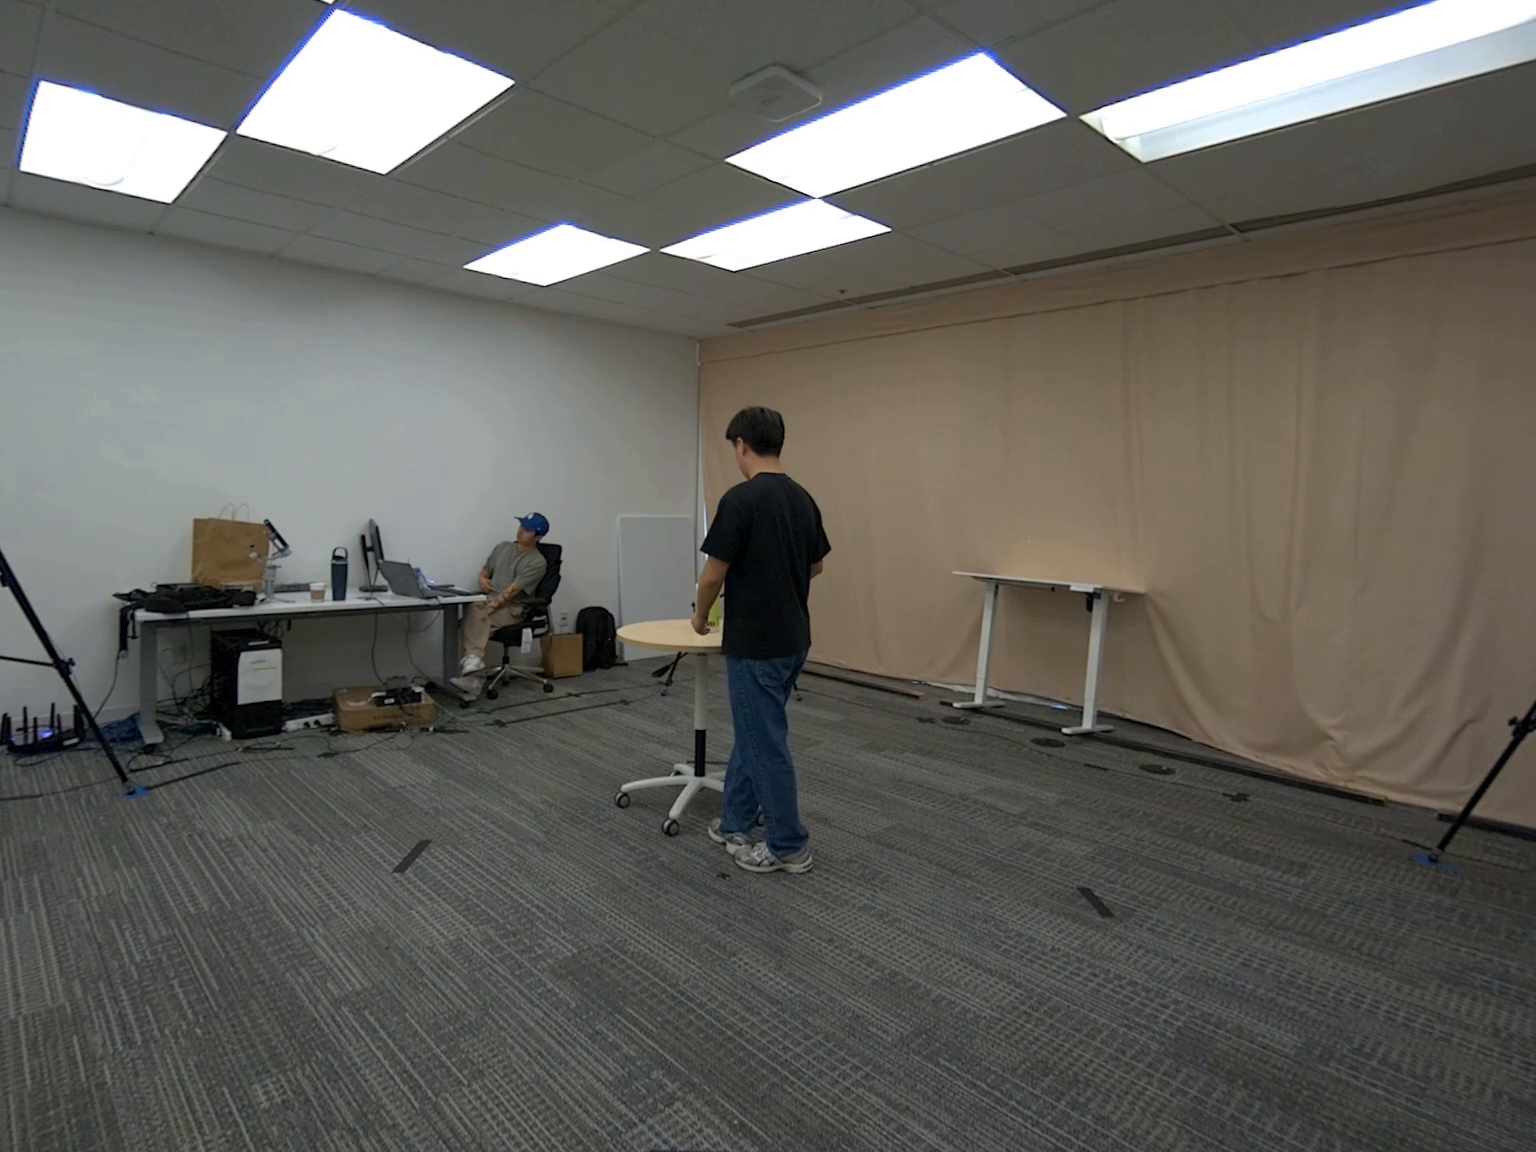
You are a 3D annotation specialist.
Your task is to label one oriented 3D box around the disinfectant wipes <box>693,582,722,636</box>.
[{"bbox_3d":[-0.273,0.143,3.782,0.118,0.217,0.118,2,3,-1],"label":"disinfectant wipes"}]
